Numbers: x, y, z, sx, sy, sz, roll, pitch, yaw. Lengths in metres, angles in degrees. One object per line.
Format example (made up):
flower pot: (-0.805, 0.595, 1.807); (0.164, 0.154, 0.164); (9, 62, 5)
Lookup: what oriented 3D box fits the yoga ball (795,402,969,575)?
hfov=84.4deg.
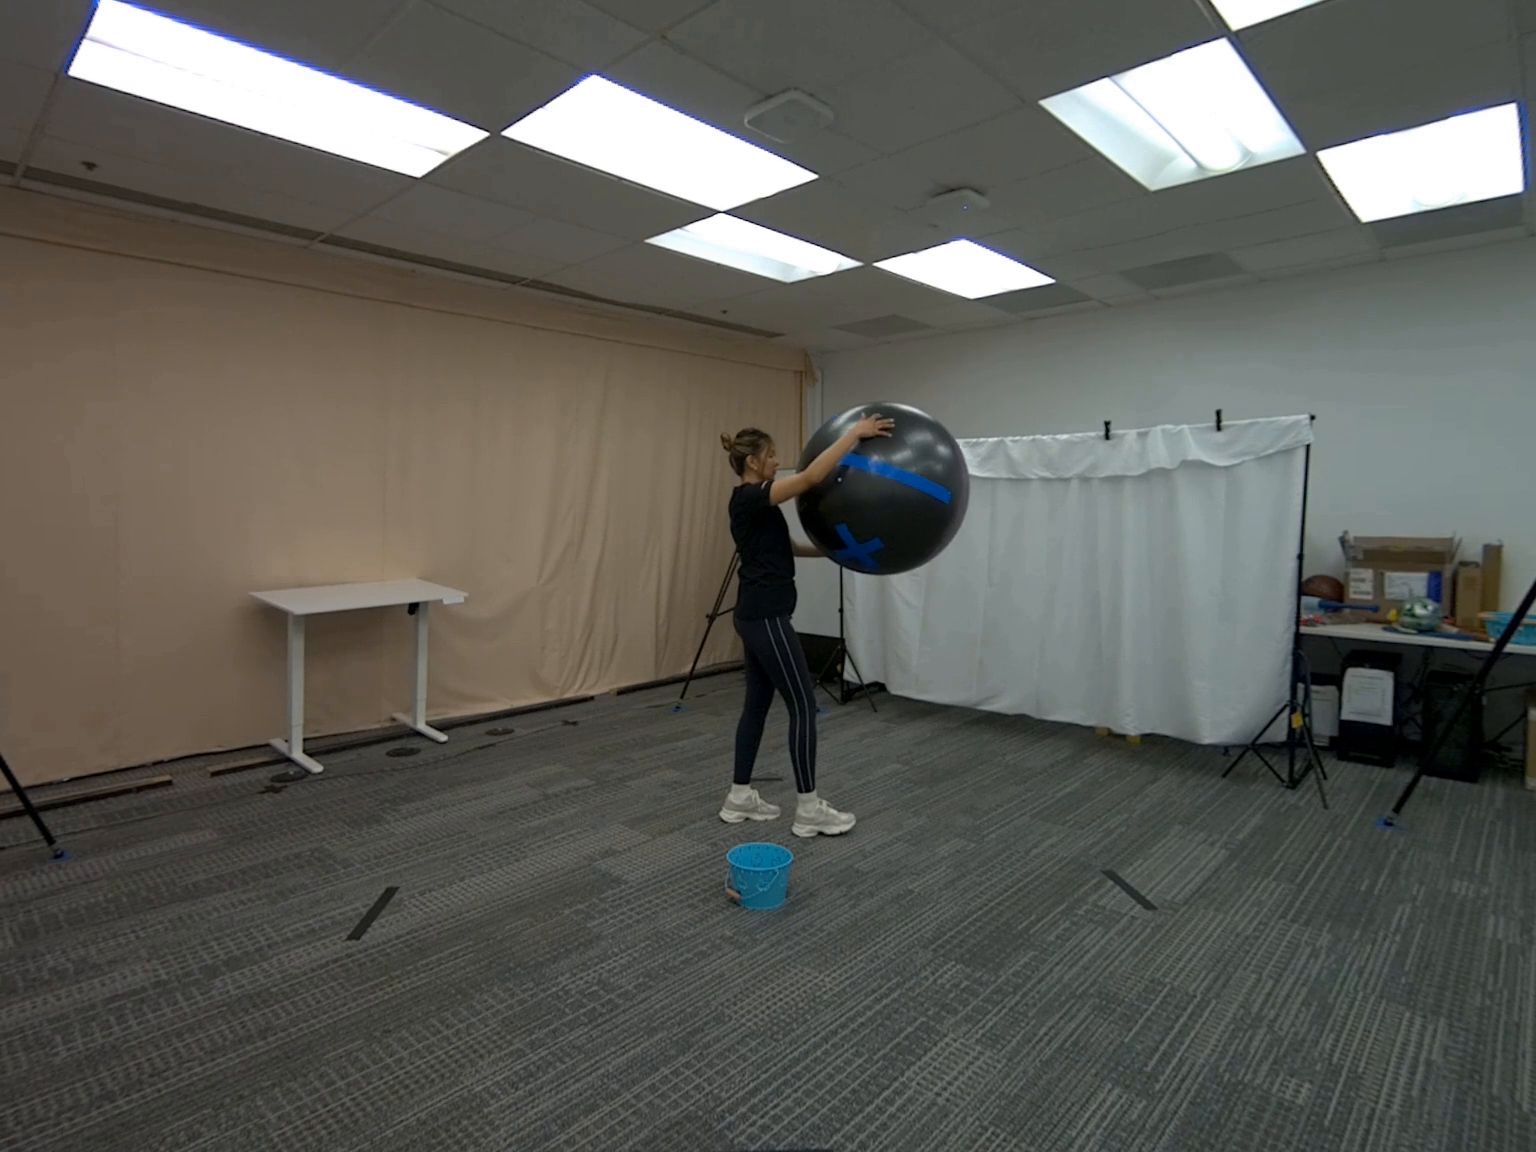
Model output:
yoga ball: (0.502, -0.374, 3.708); (0.757, 0.756, 0.761); (0, 4, -2)
